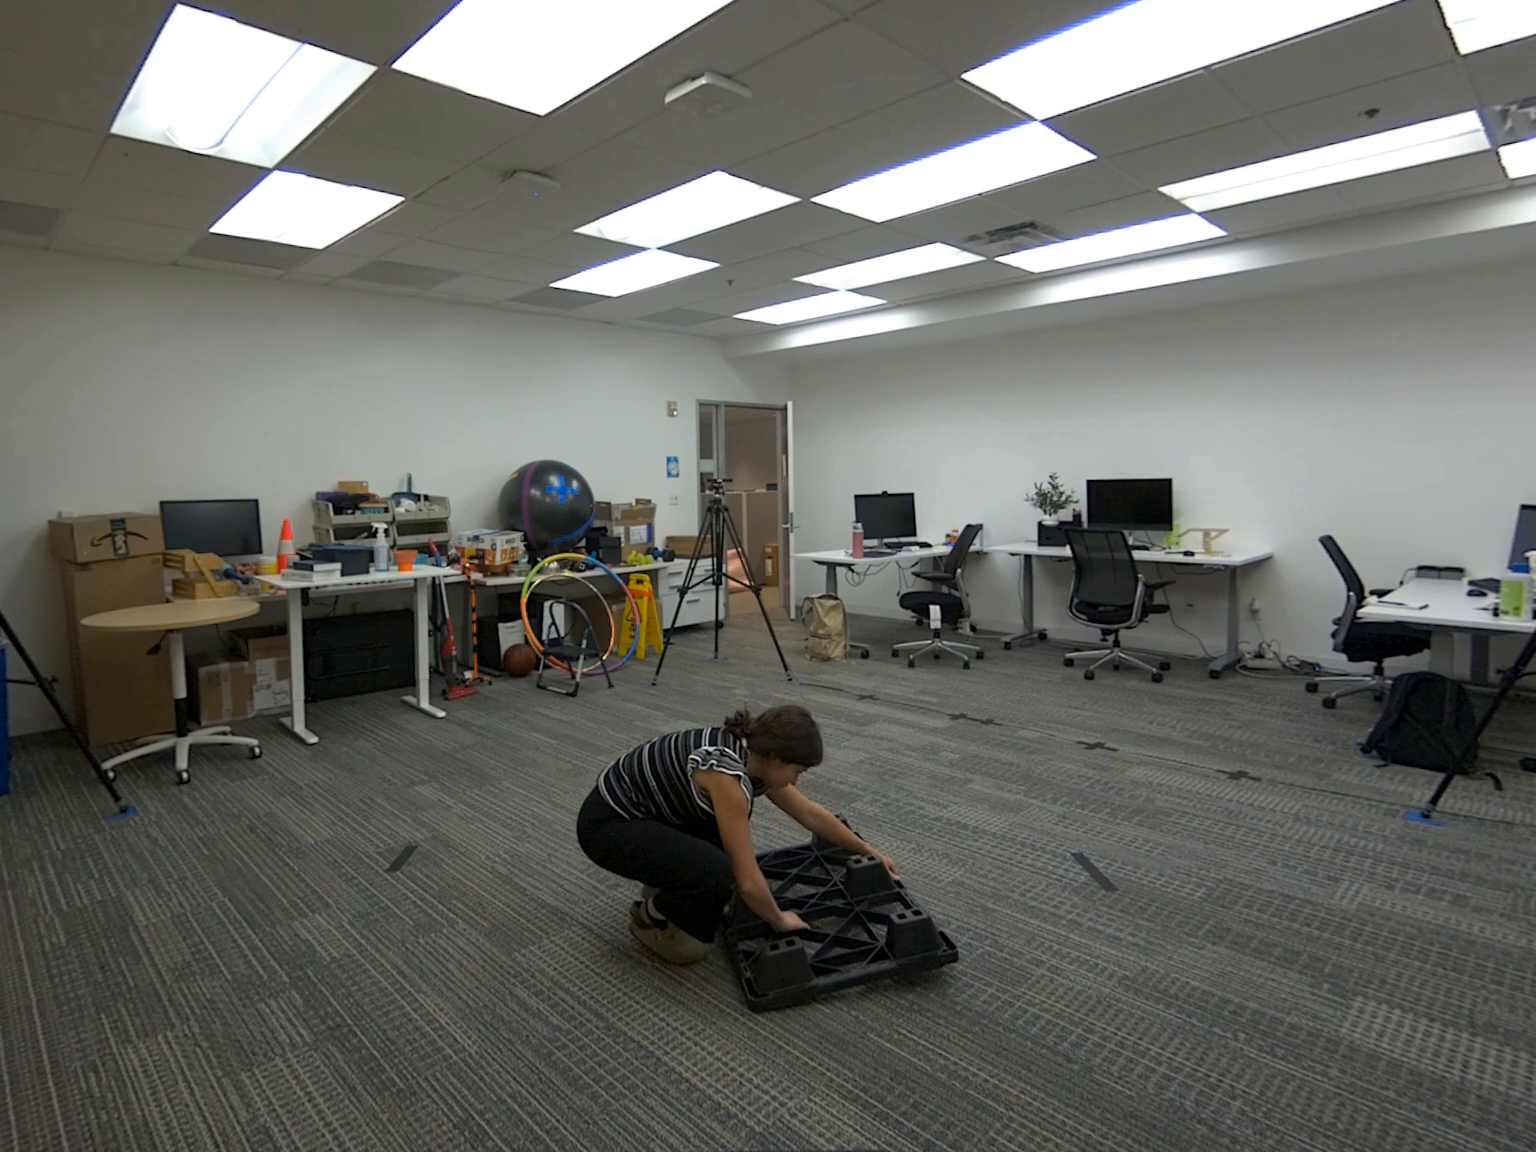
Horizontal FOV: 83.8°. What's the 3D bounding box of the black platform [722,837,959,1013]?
[{"bbox_3d":[0.142,0.992,2.673,0.599,0.142,0.820,-9,9,-13],"label":"black platform"}]
